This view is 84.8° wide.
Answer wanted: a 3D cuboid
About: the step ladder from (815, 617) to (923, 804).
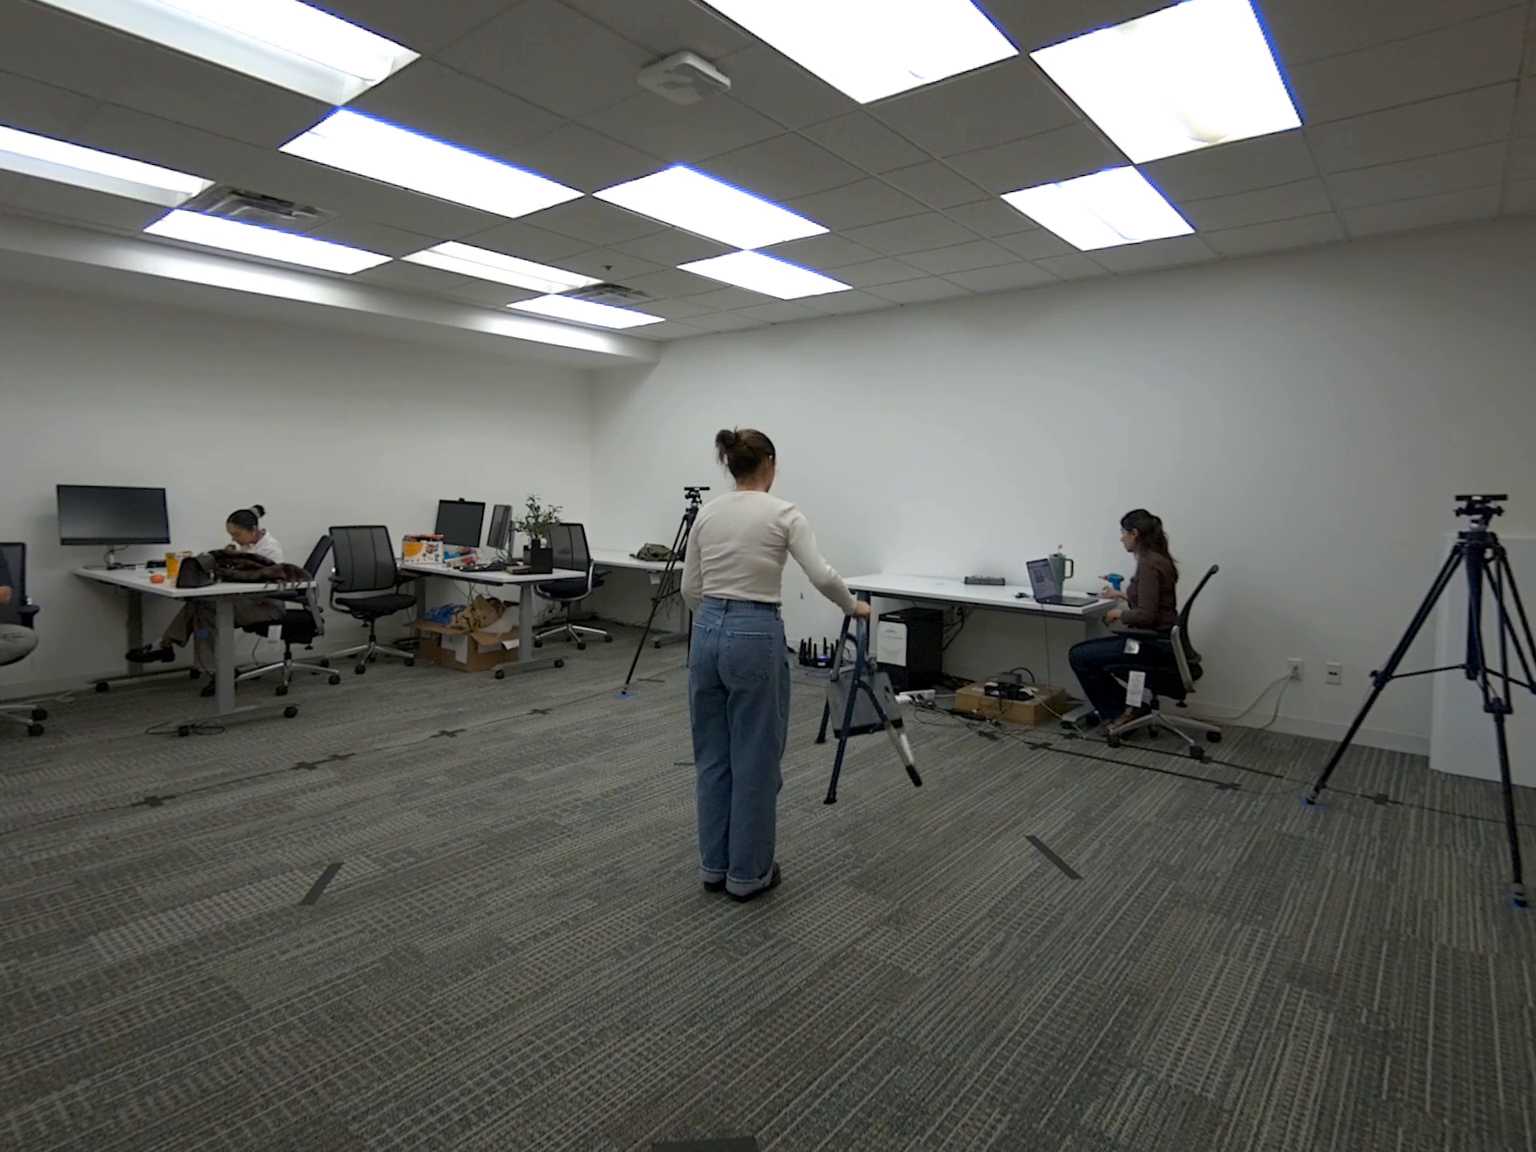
[{"bbox_3d":[0.293,0.407,3.072,0.350,0.594,0.438,-11,18,3],"label":"step ladder"}]
